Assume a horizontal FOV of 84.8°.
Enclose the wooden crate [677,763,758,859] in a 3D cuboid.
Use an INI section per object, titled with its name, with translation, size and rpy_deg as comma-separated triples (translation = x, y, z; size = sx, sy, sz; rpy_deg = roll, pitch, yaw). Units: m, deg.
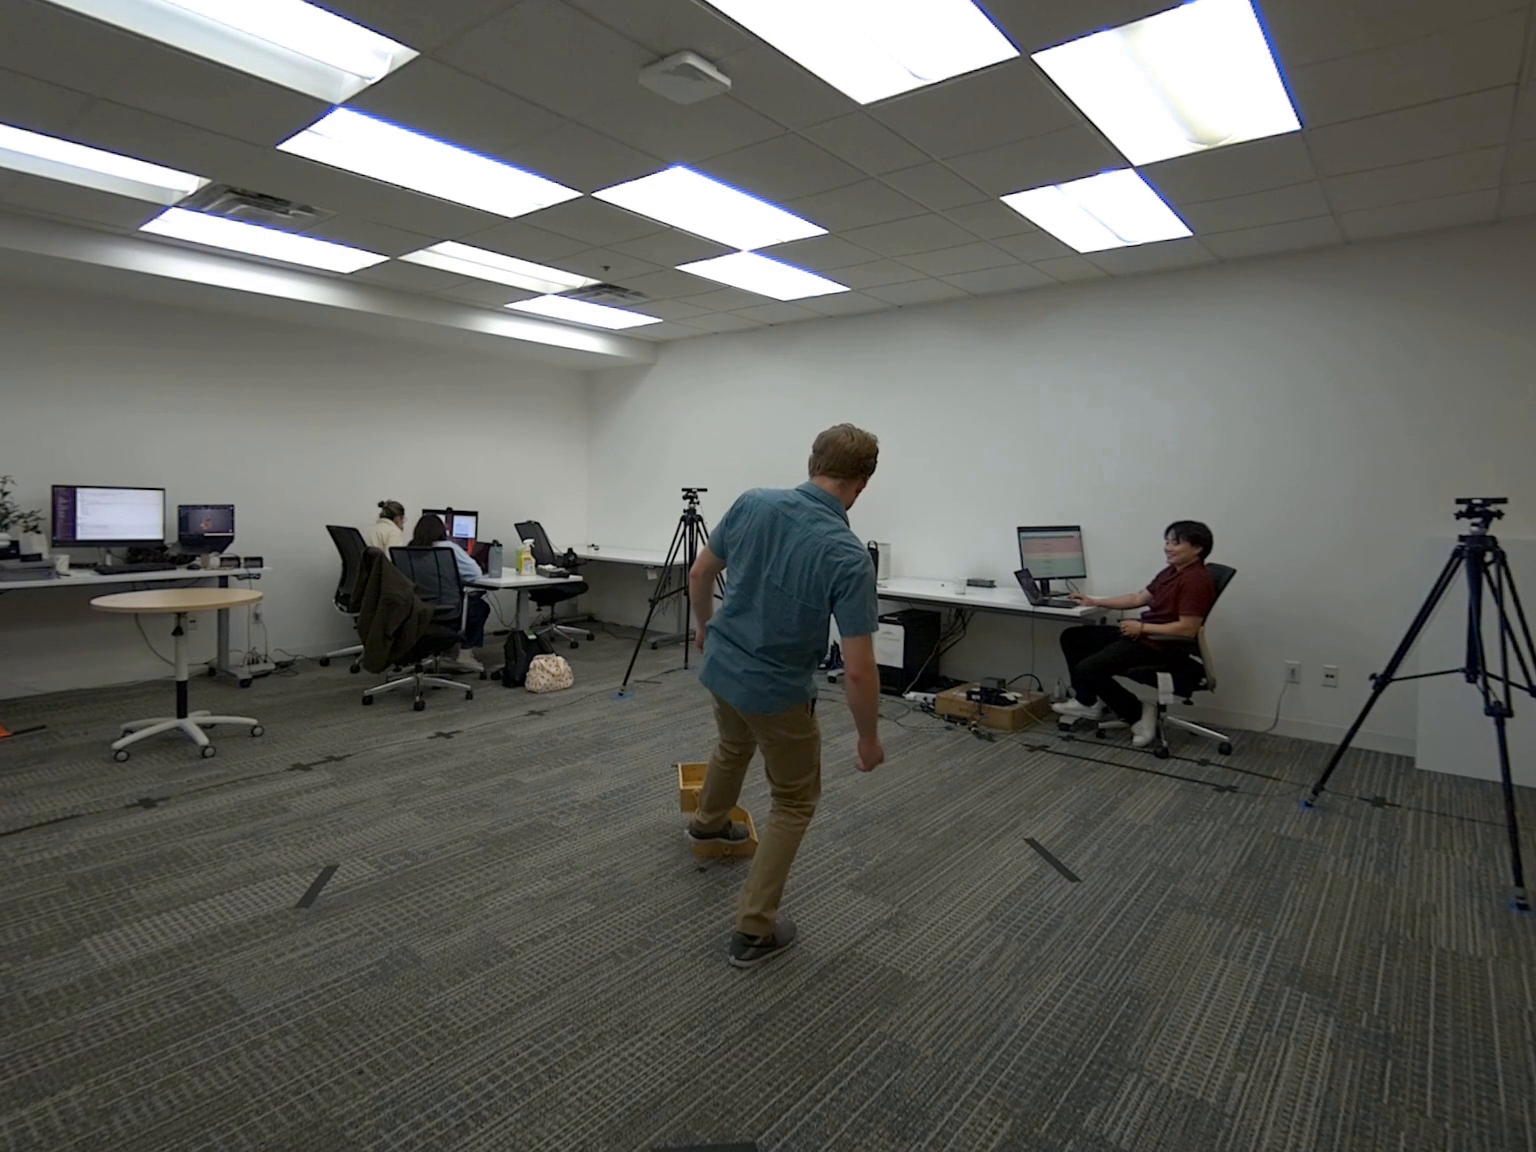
[wooden crate]
translation = -0.204, 0.910, 3.367
size = 0.300, 0.272, 0.328
rpy_deg = 0, 5, -8
